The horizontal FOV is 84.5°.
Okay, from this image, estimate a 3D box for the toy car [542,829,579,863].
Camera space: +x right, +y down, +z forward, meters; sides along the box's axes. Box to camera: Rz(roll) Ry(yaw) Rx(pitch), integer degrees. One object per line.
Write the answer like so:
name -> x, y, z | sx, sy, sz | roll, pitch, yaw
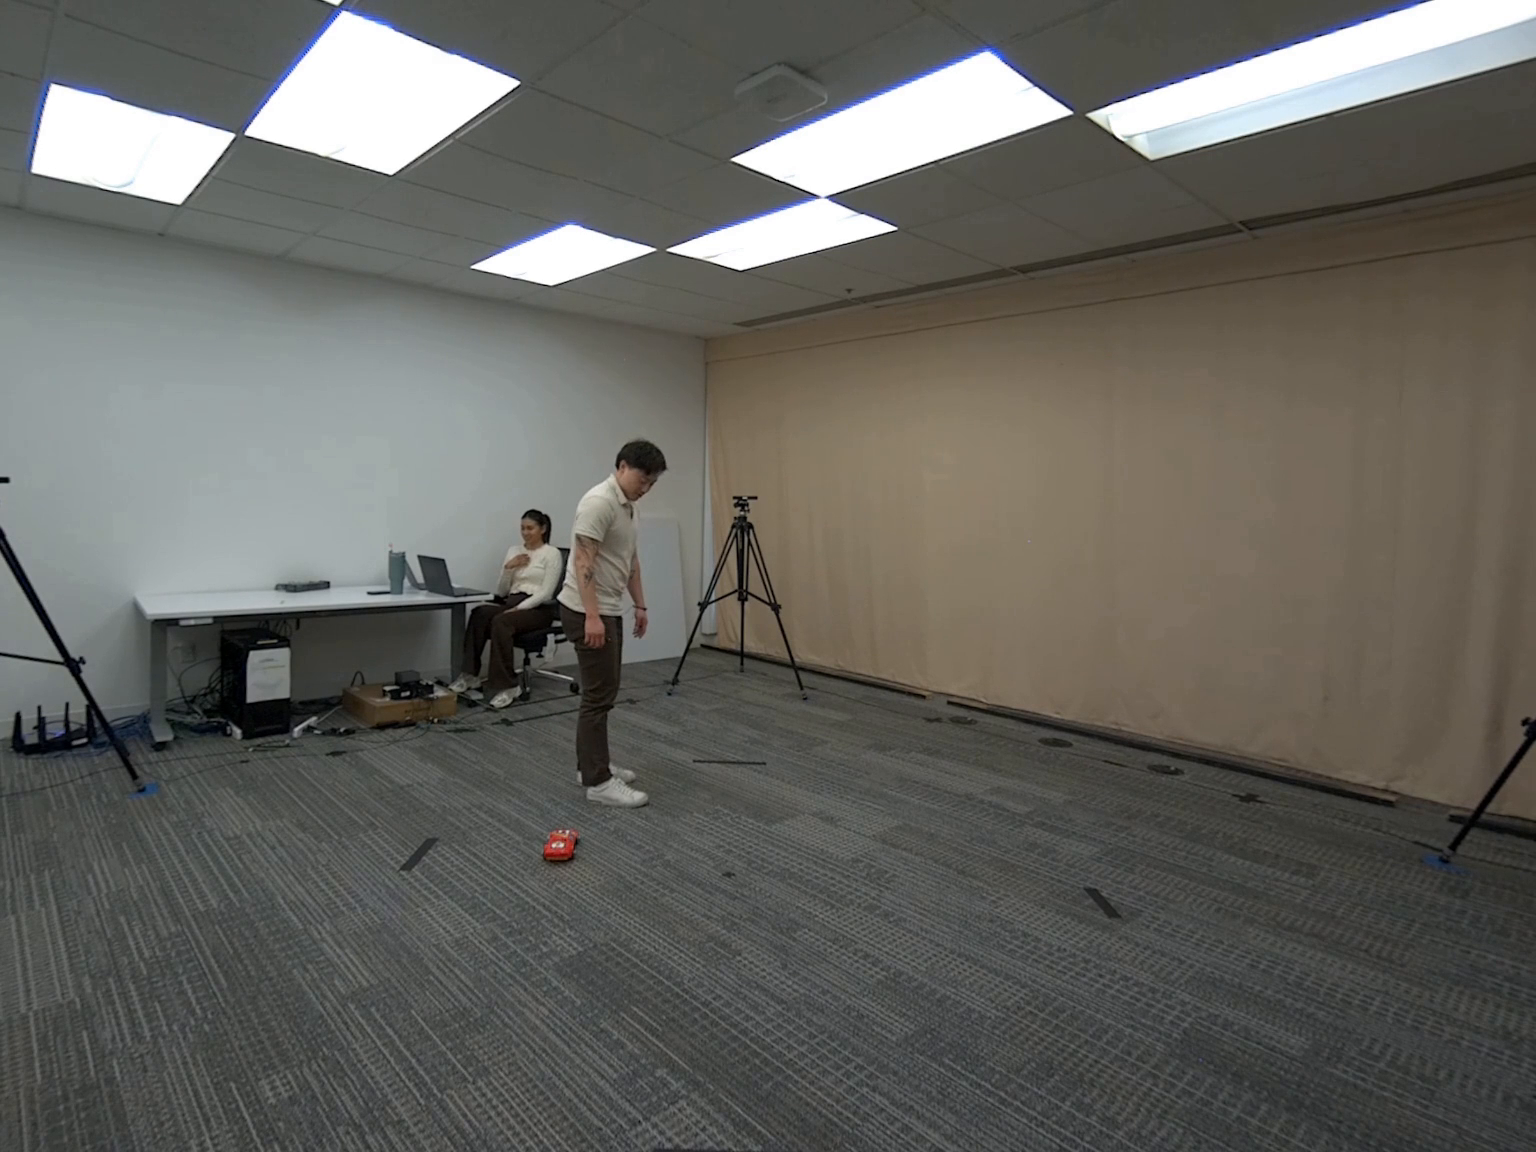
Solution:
toy car -> -0.809, 1.043, 3.251 | 0.130, 0.083, 0.254 | 1, -5, -5
